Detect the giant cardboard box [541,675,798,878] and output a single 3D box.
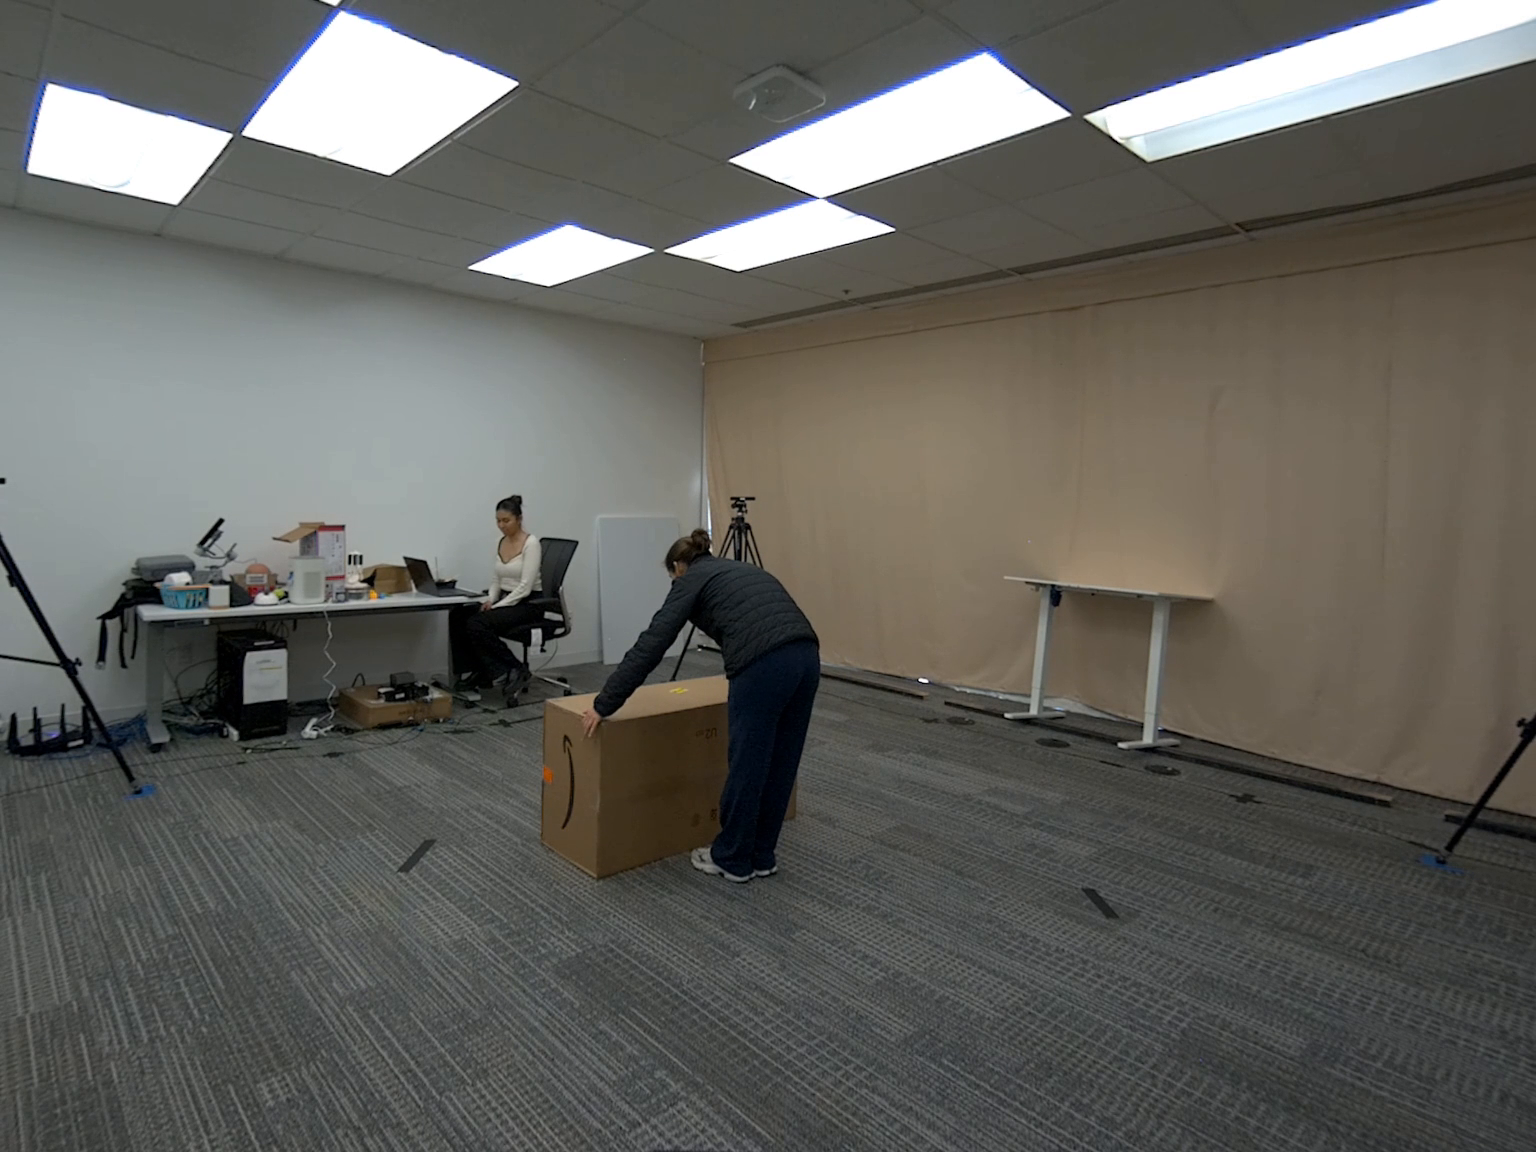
[{"bbox_3d":[-0.387,0.781,3.512,1.003,0.583,0.458,-2,4,-43],"label":"giant cardboard box"}]
